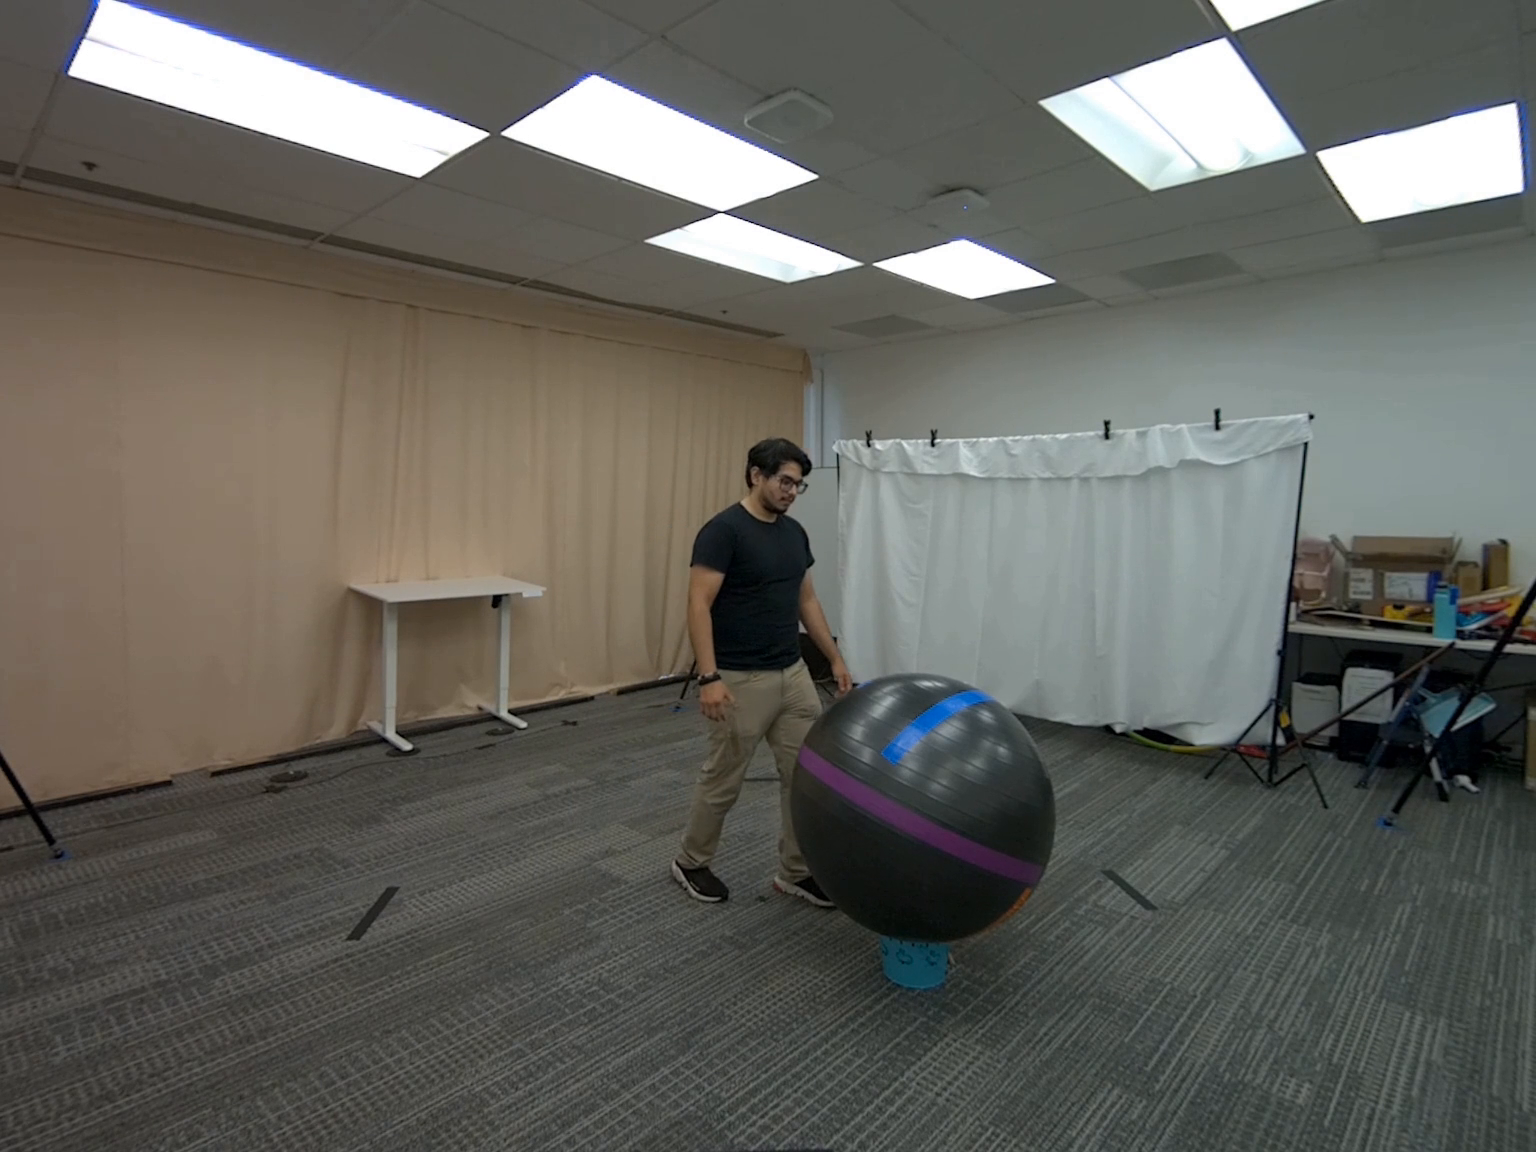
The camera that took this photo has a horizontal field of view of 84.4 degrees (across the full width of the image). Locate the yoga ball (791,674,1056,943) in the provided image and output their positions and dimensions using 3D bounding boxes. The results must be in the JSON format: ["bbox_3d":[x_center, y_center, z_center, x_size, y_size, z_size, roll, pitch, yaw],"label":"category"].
[{"bbox_3d":[0.458,0.679,2.494,0.757,0.756,0.761,0,4,-2],"label":"yoga ball"}]
